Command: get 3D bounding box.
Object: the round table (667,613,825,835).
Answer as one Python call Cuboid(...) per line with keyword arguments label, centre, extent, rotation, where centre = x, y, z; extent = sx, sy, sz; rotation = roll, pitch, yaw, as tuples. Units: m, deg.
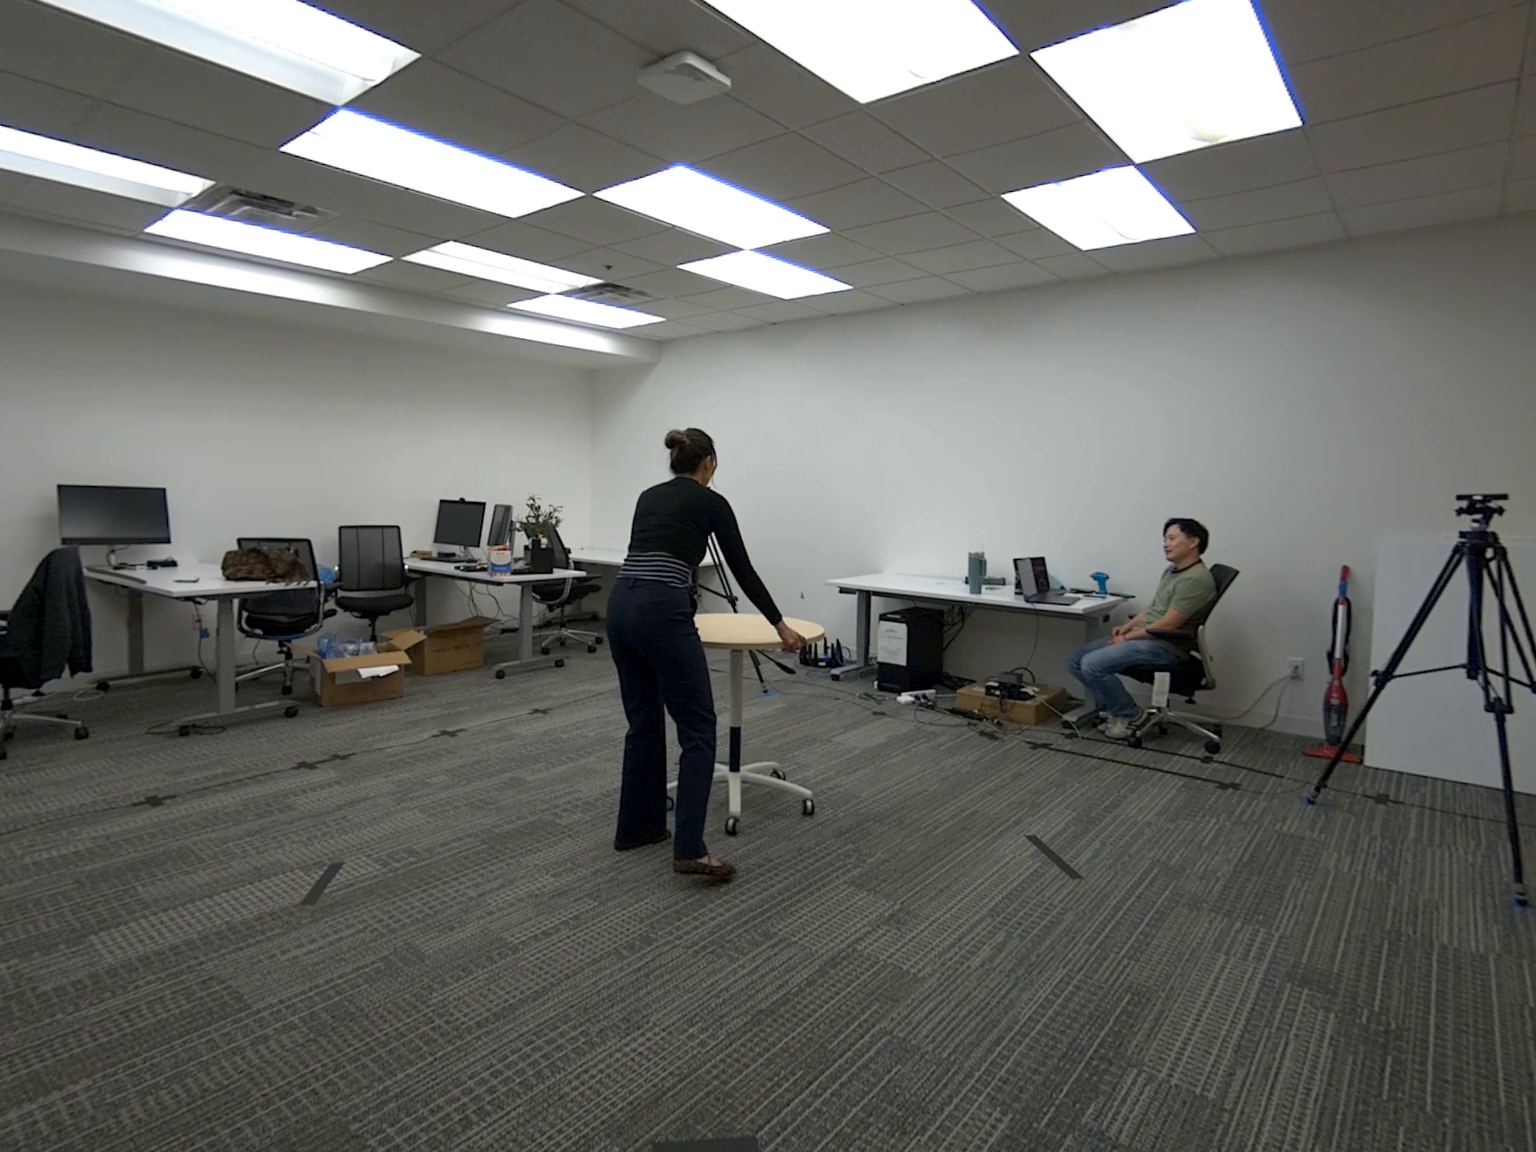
Cuboid(label="round table", centre=(-0.146, 0.612, 3.751), extent=(0.763, 0.792, 0.767), rotation=(1, 4, -2))
